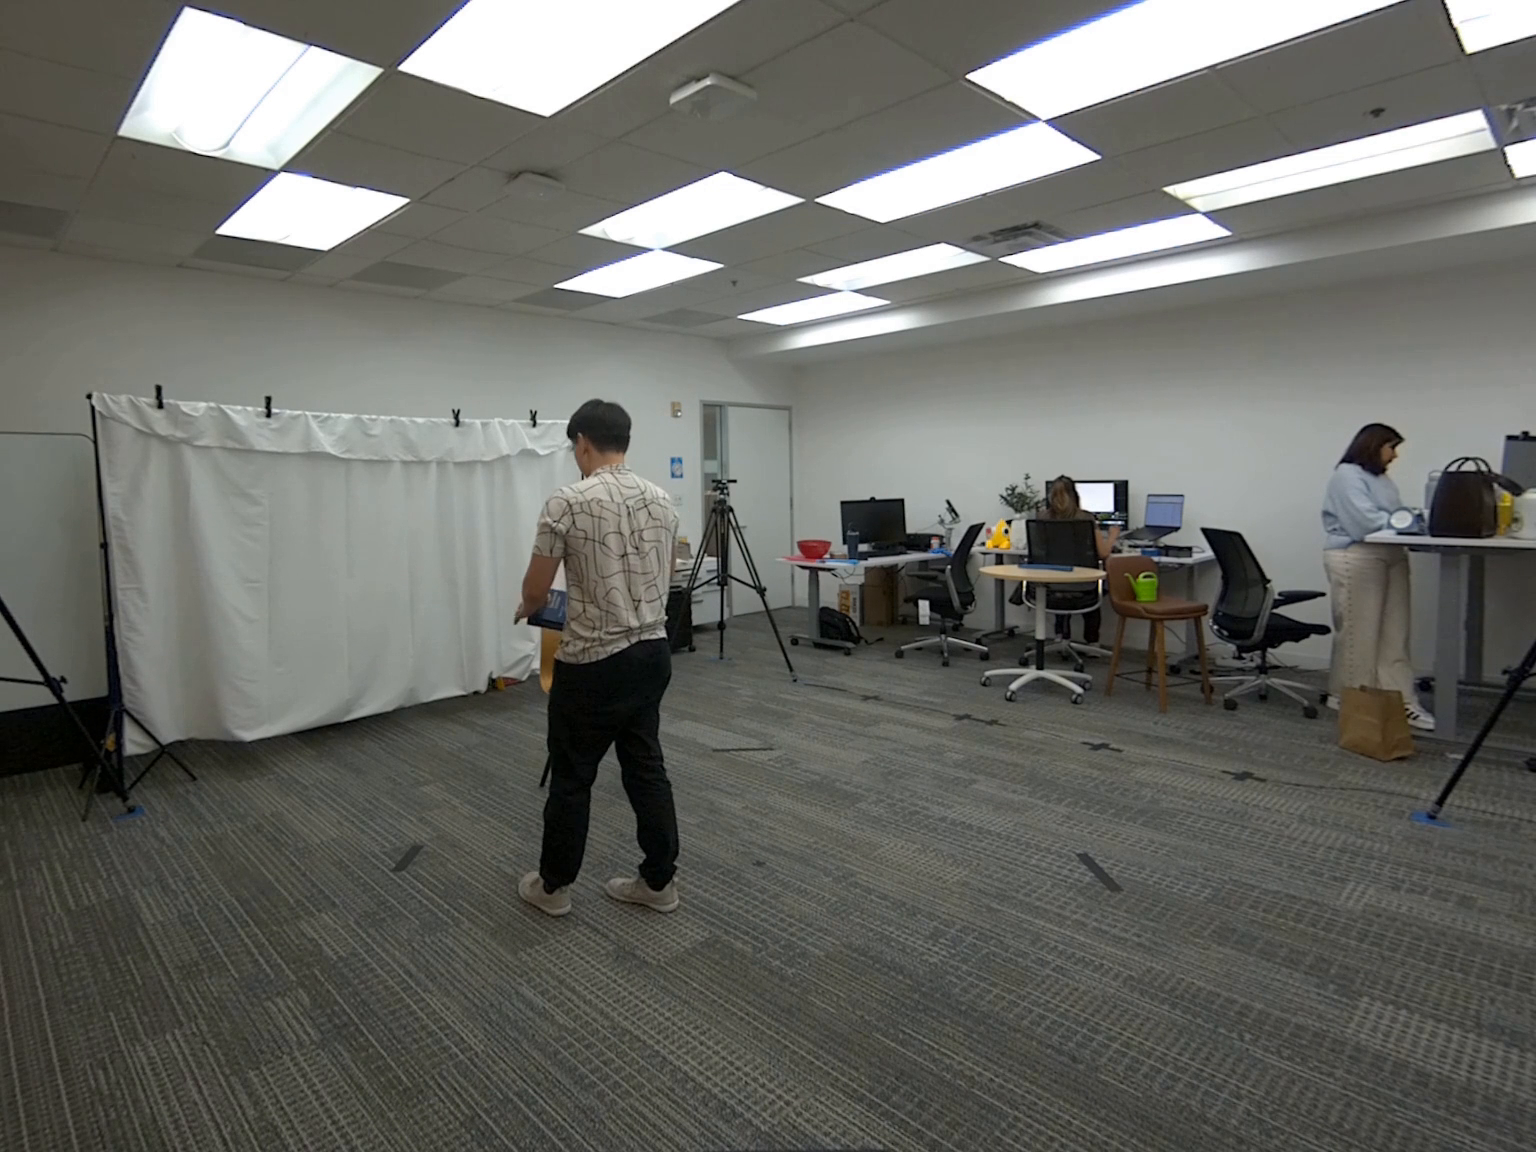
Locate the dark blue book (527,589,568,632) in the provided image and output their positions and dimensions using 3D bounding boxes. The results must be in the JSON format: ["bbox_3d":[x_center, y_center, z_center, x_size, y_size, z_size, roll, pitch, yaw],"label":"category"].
[{"bbox_3d":[-0.700,0.125,3.003,0.245,0.044,0.167,11,36,-1],"label":"dark blue book"}]
